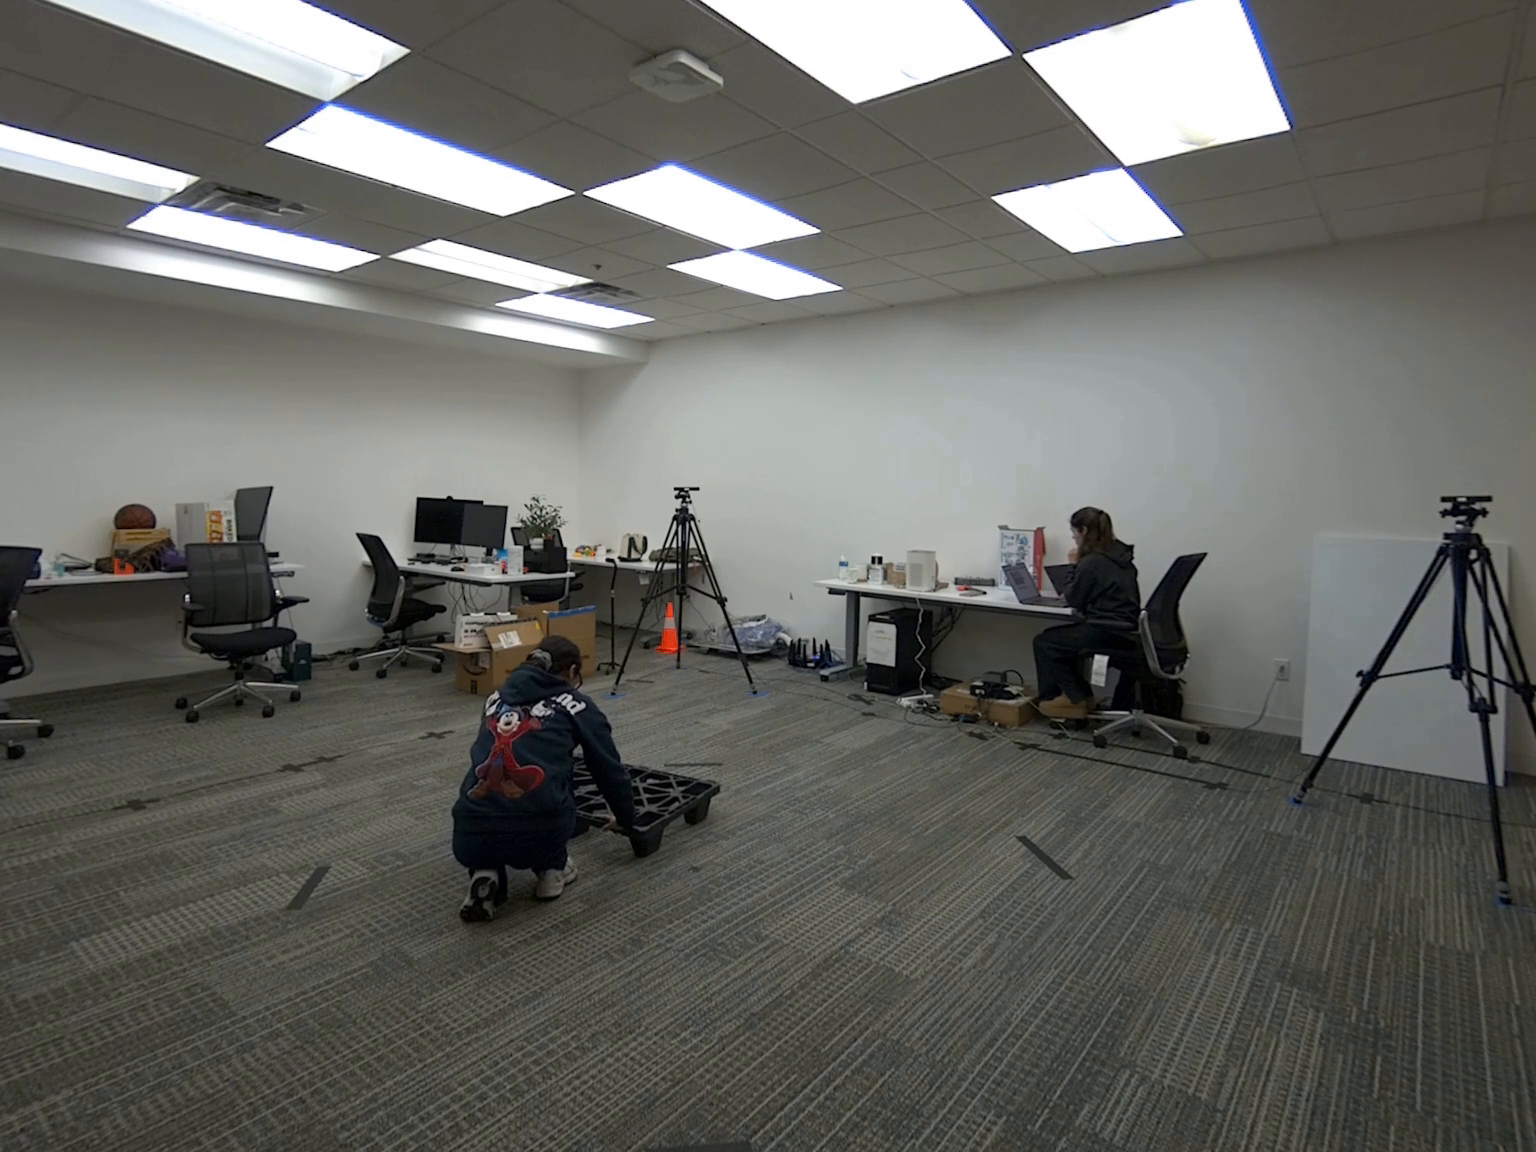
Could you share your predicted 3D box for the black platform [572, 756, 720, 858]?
[{"bbox_3d":[-0.694,0.947,3.563,0.828,0.143,0.591,3,6,28],"label":"black platform"}]
